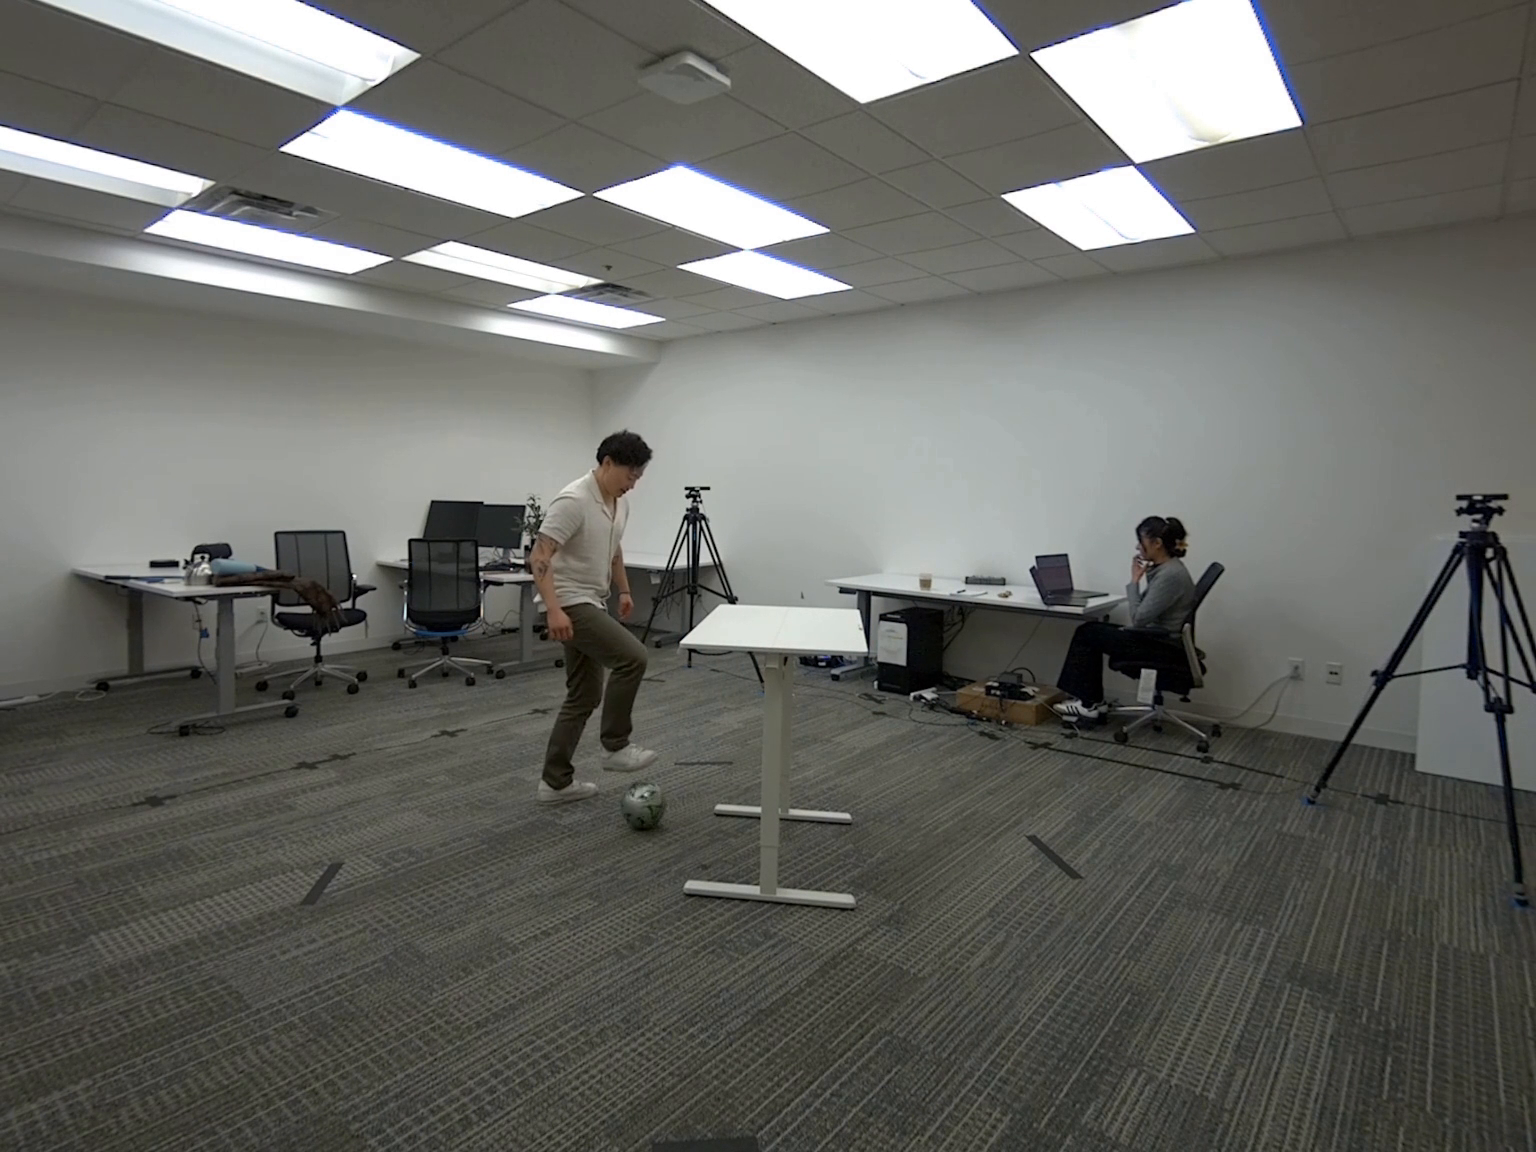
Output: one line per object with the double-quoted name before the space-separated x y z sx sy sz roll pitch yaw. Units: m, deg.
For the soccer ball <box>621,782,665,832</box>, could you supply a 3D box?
"soccer ball" -0.517 0.934 3.476 0.187 0.187 0.188 1 4 -2
